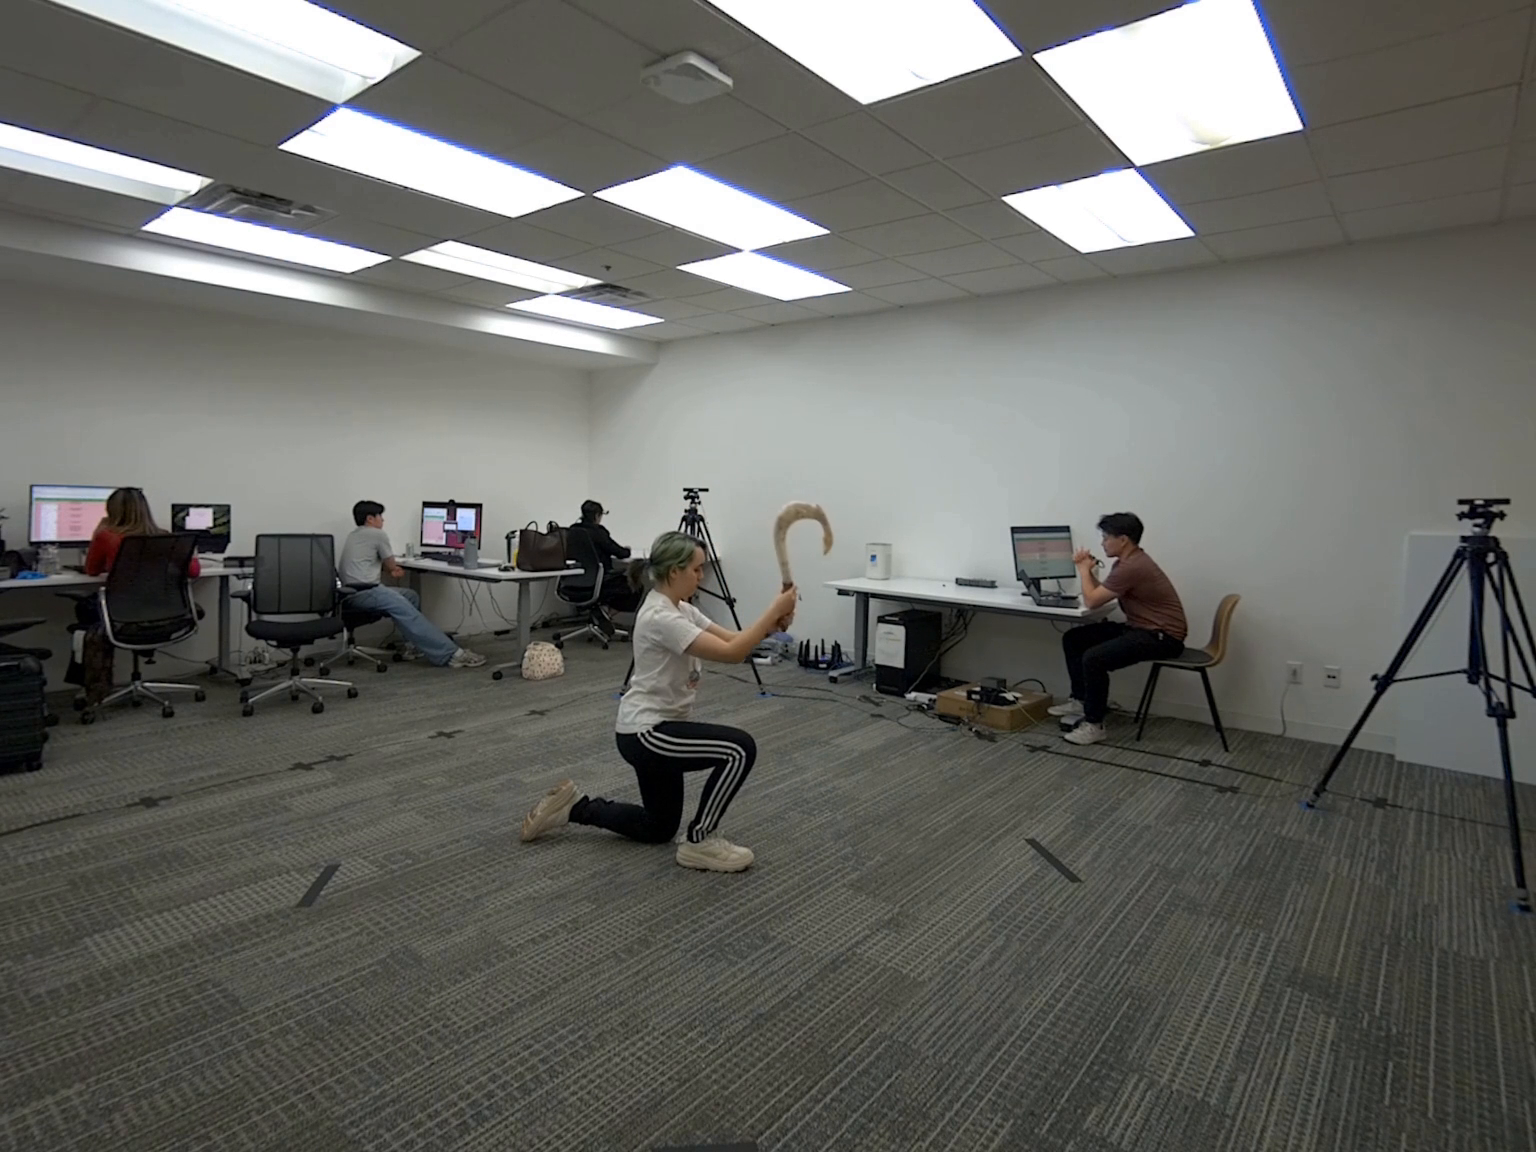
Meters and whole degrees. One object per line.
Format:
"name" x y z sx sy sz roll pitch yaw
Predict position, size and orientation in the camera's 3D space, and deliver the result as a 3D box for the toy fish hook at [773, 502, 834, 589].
"toy fish hook" 0.109 -0.022 3.225 0.227 0.502 0.048 5 10 9
